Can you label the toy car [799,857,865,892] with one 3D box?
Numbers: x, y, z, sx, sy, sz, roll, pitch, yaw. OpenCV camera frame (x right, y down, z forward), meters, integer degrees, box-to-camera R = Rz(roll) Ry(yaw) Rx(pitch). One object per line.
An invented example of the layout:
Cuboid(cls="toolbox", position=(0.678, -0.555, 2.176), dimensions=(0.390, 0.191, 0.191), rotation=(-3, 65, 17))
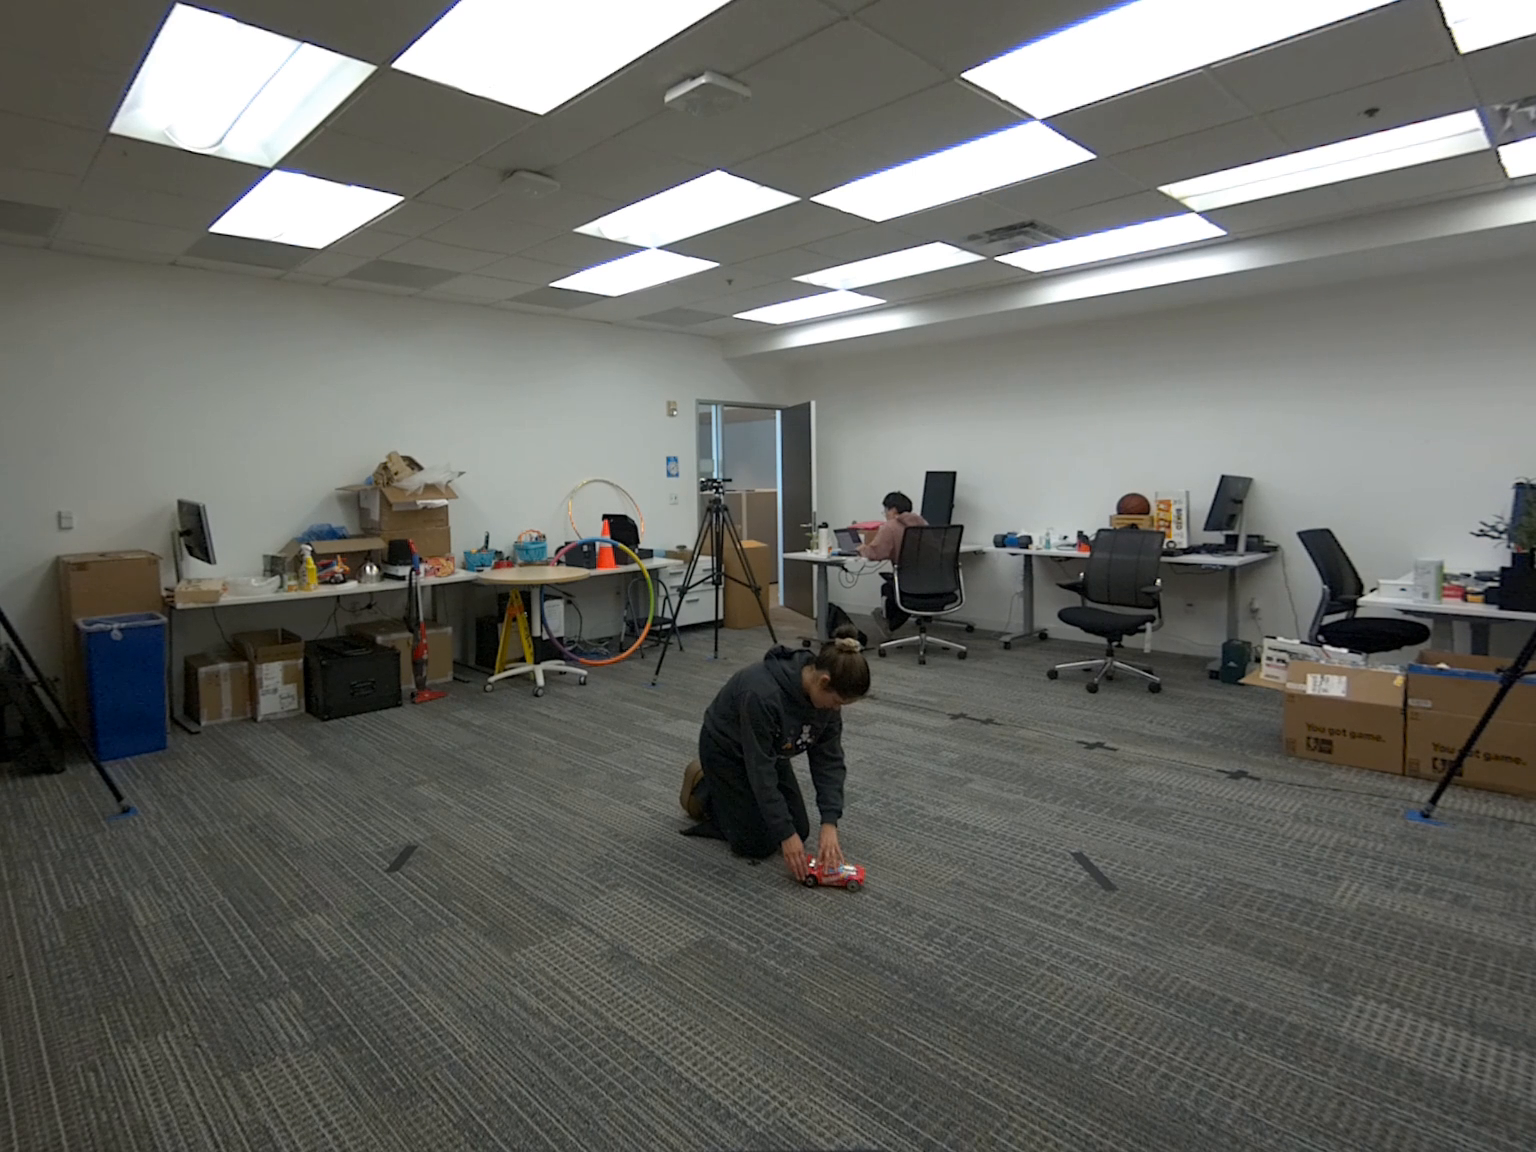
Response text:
Cuboid(cls="toy car", position=(0.209, 1.027, 2.937), dimensions=(0.258, 0.083, 0.129), rotation=(11, 6, 13))
